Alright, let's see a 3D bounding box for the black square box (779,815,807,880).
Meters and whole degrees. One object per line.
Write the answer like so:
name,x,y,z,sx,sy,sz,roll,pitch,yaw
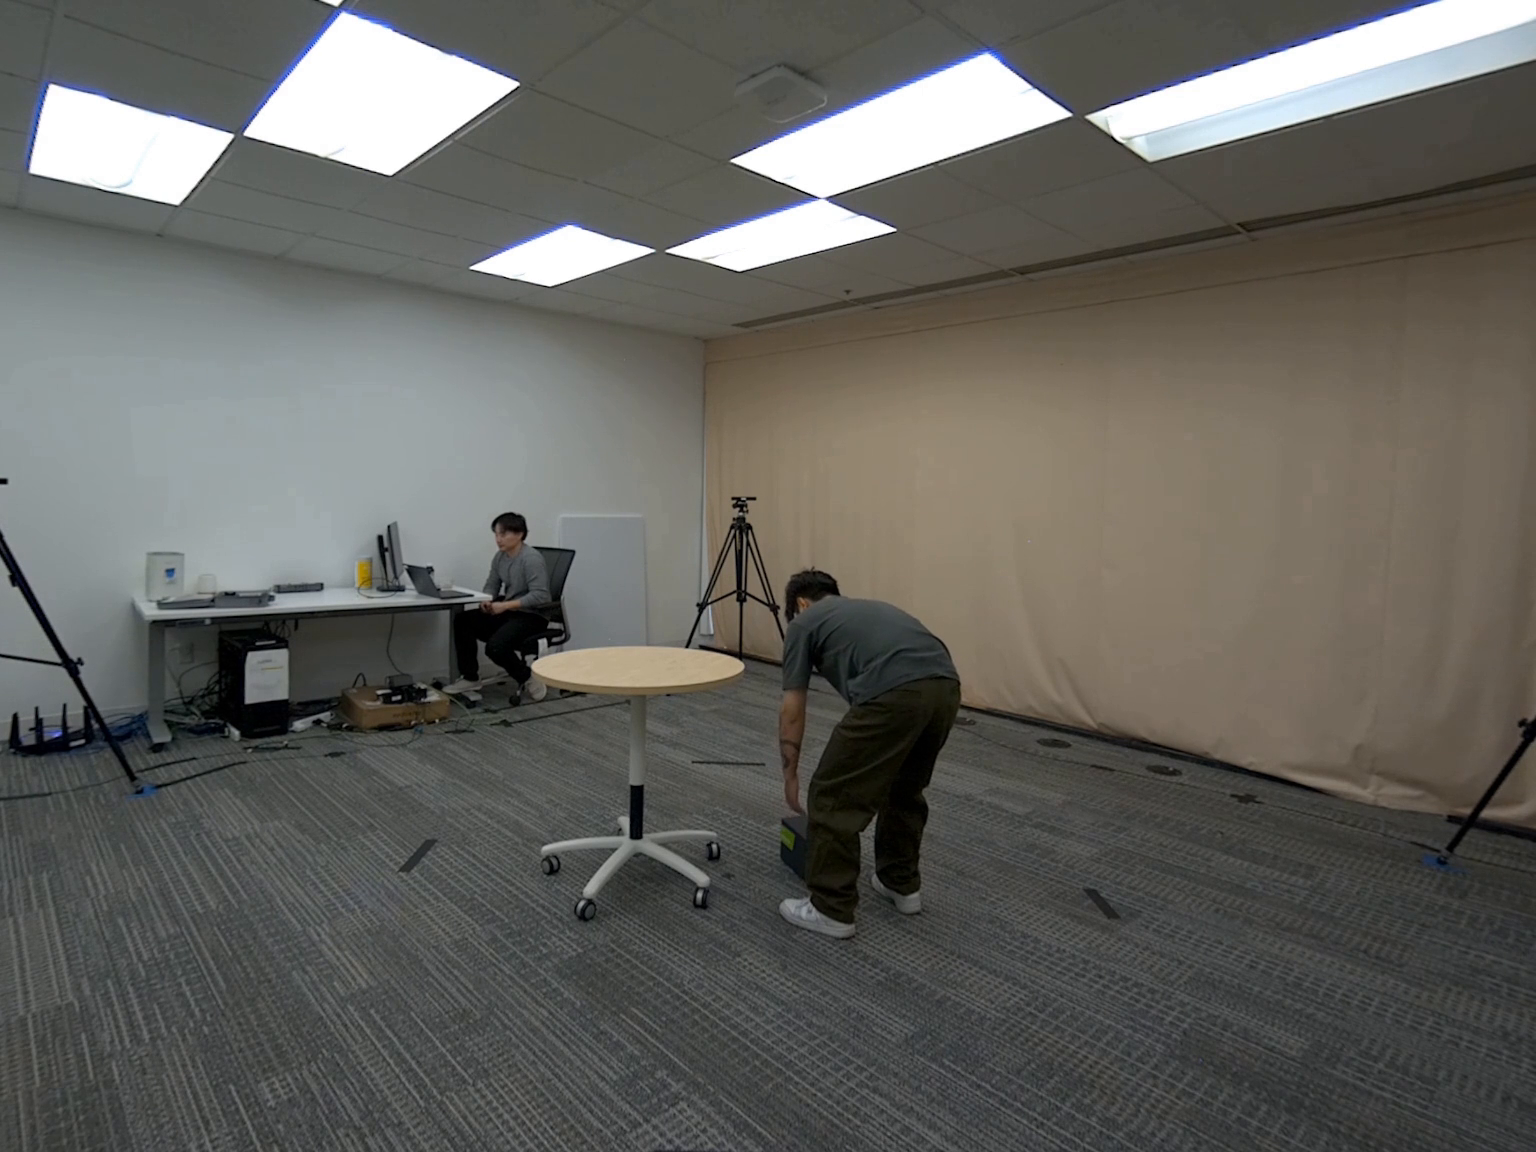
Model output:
black square box,0.185,1.022,3.201,0.213,0.155,0.232,0,4,-23
